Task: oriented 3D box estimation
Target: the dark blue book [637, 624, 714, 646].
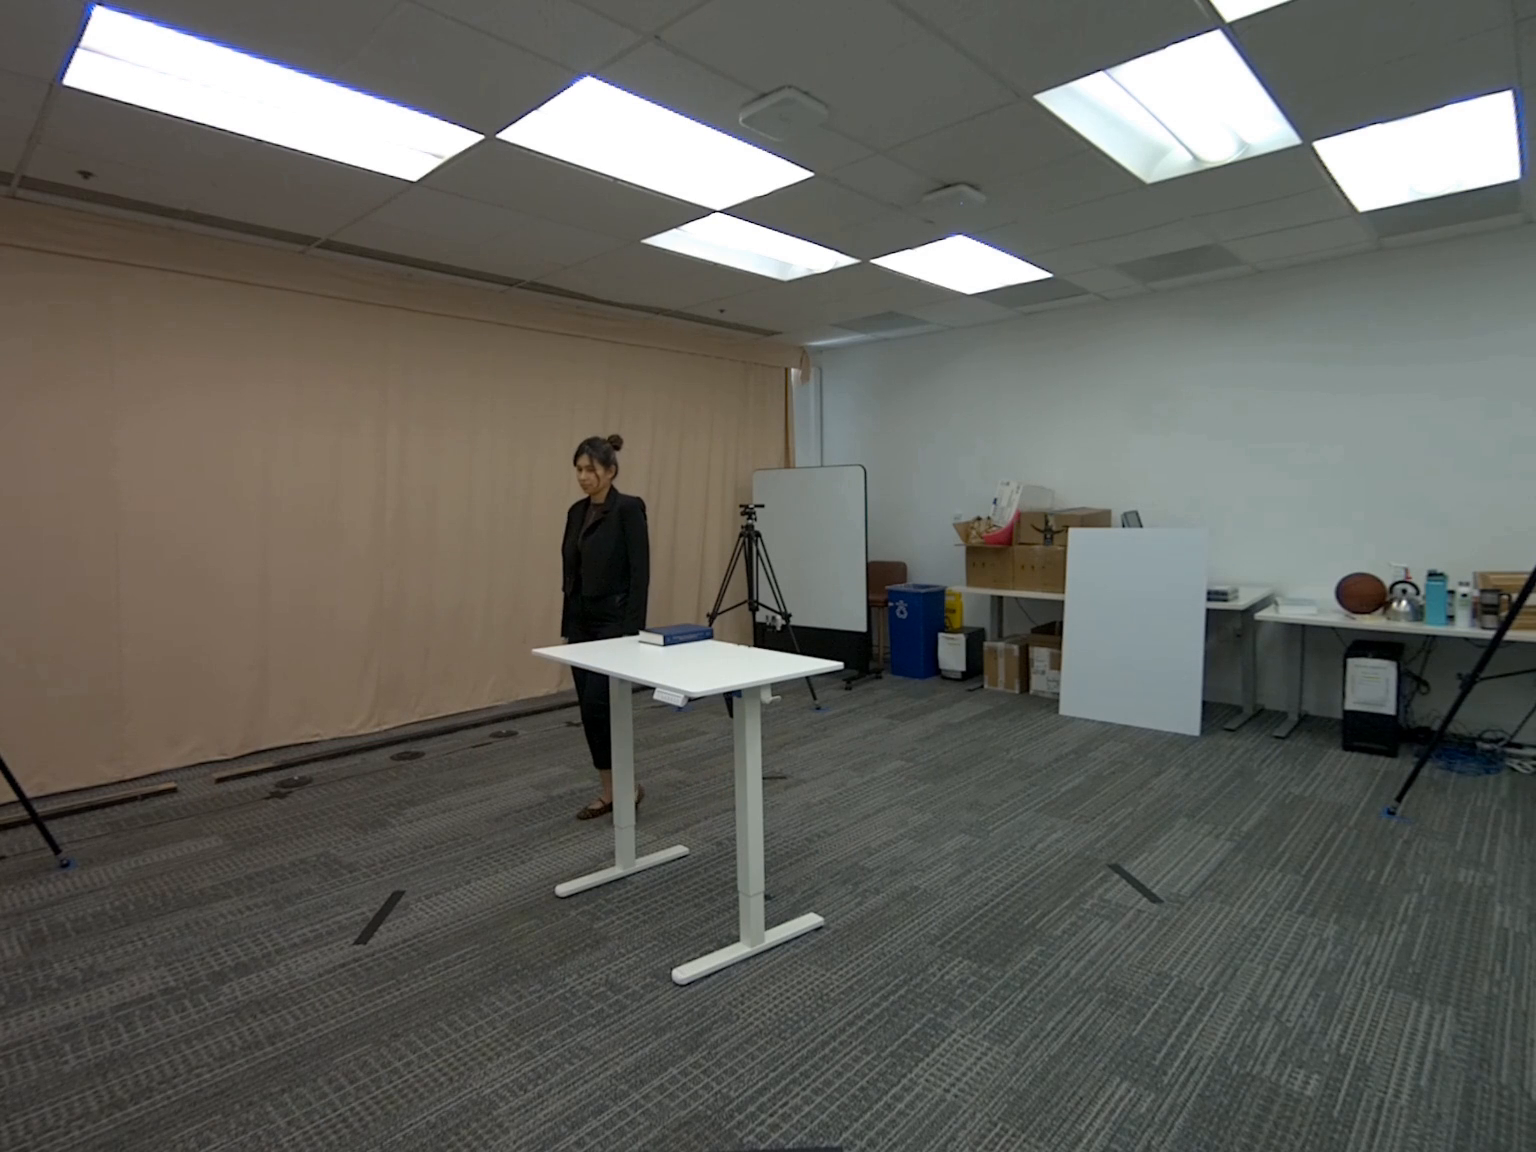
[{"bbox_3d":[-0.348,0.224,3.222,0.238,0.045,0.169,-5,6,-42],"label":"dark blue book"}]
